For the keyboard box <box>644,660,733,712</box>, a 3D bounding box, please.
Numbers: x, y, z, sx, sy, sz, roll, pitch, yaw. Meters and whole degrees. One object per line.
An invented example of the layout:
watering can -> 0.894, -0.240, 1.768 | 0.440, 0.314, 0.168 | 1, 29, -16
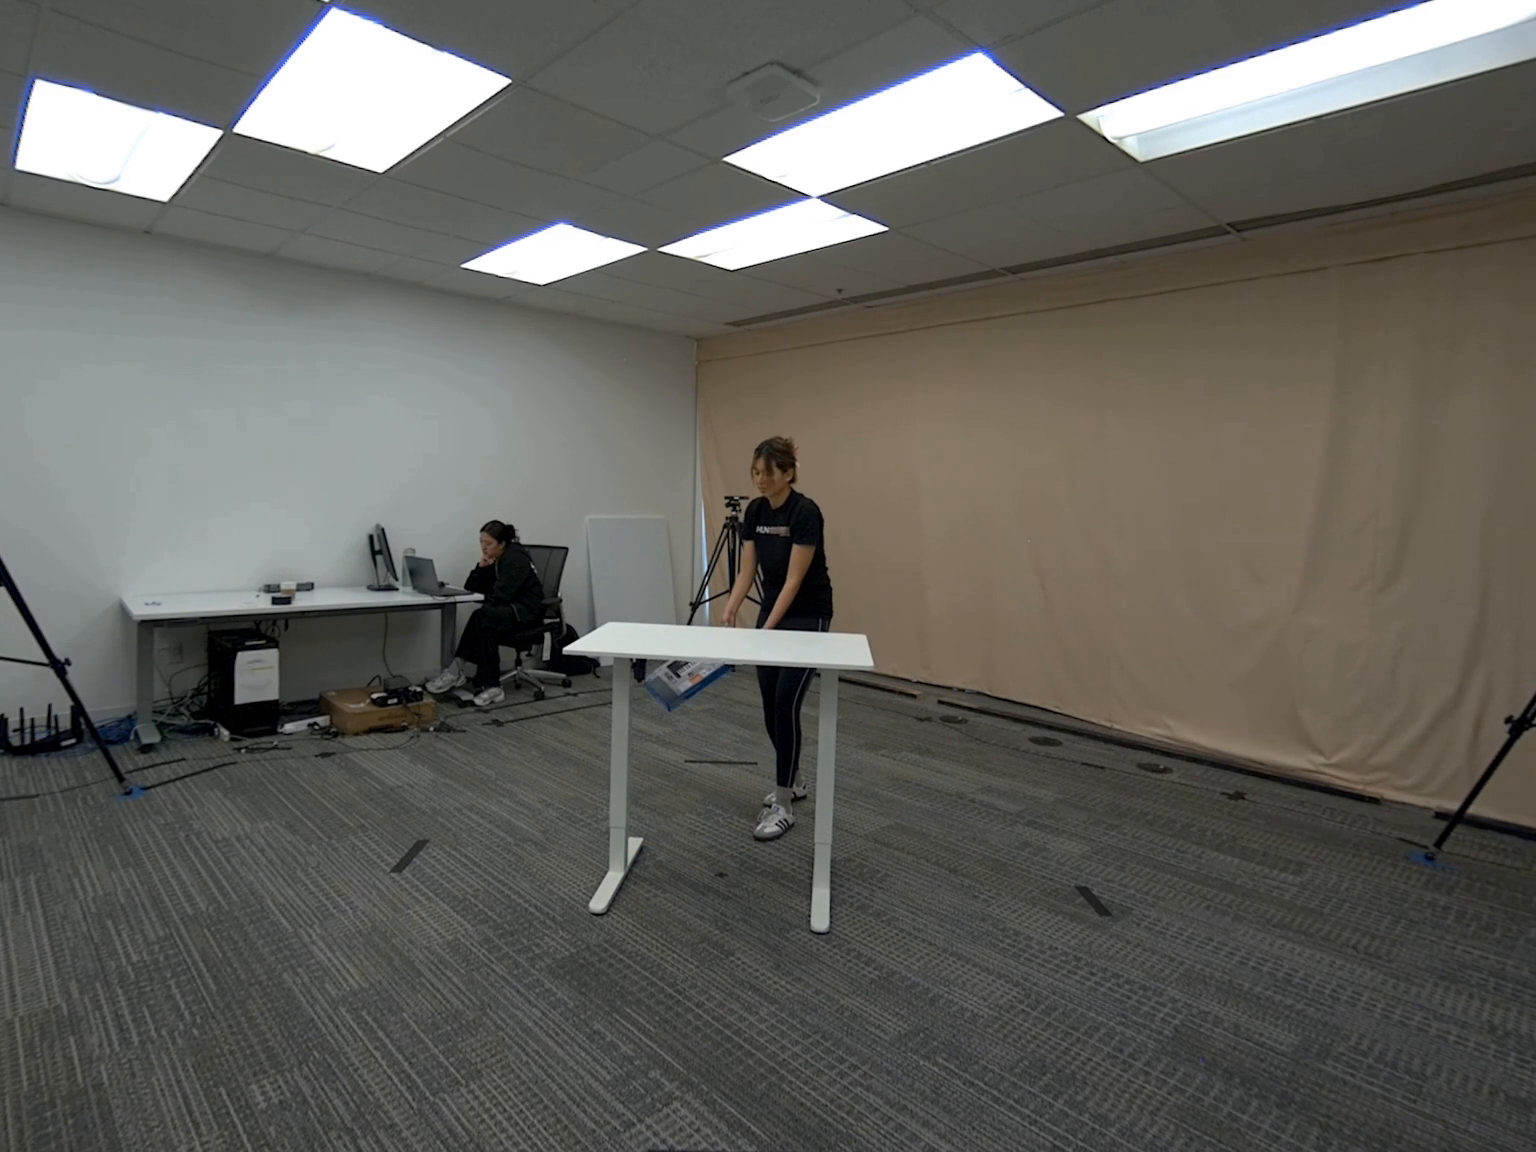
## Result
keyboard box -> -0.293, 0.372, 3.443 | 0.434, 0.057, 0.181 | -34, 49, -24
